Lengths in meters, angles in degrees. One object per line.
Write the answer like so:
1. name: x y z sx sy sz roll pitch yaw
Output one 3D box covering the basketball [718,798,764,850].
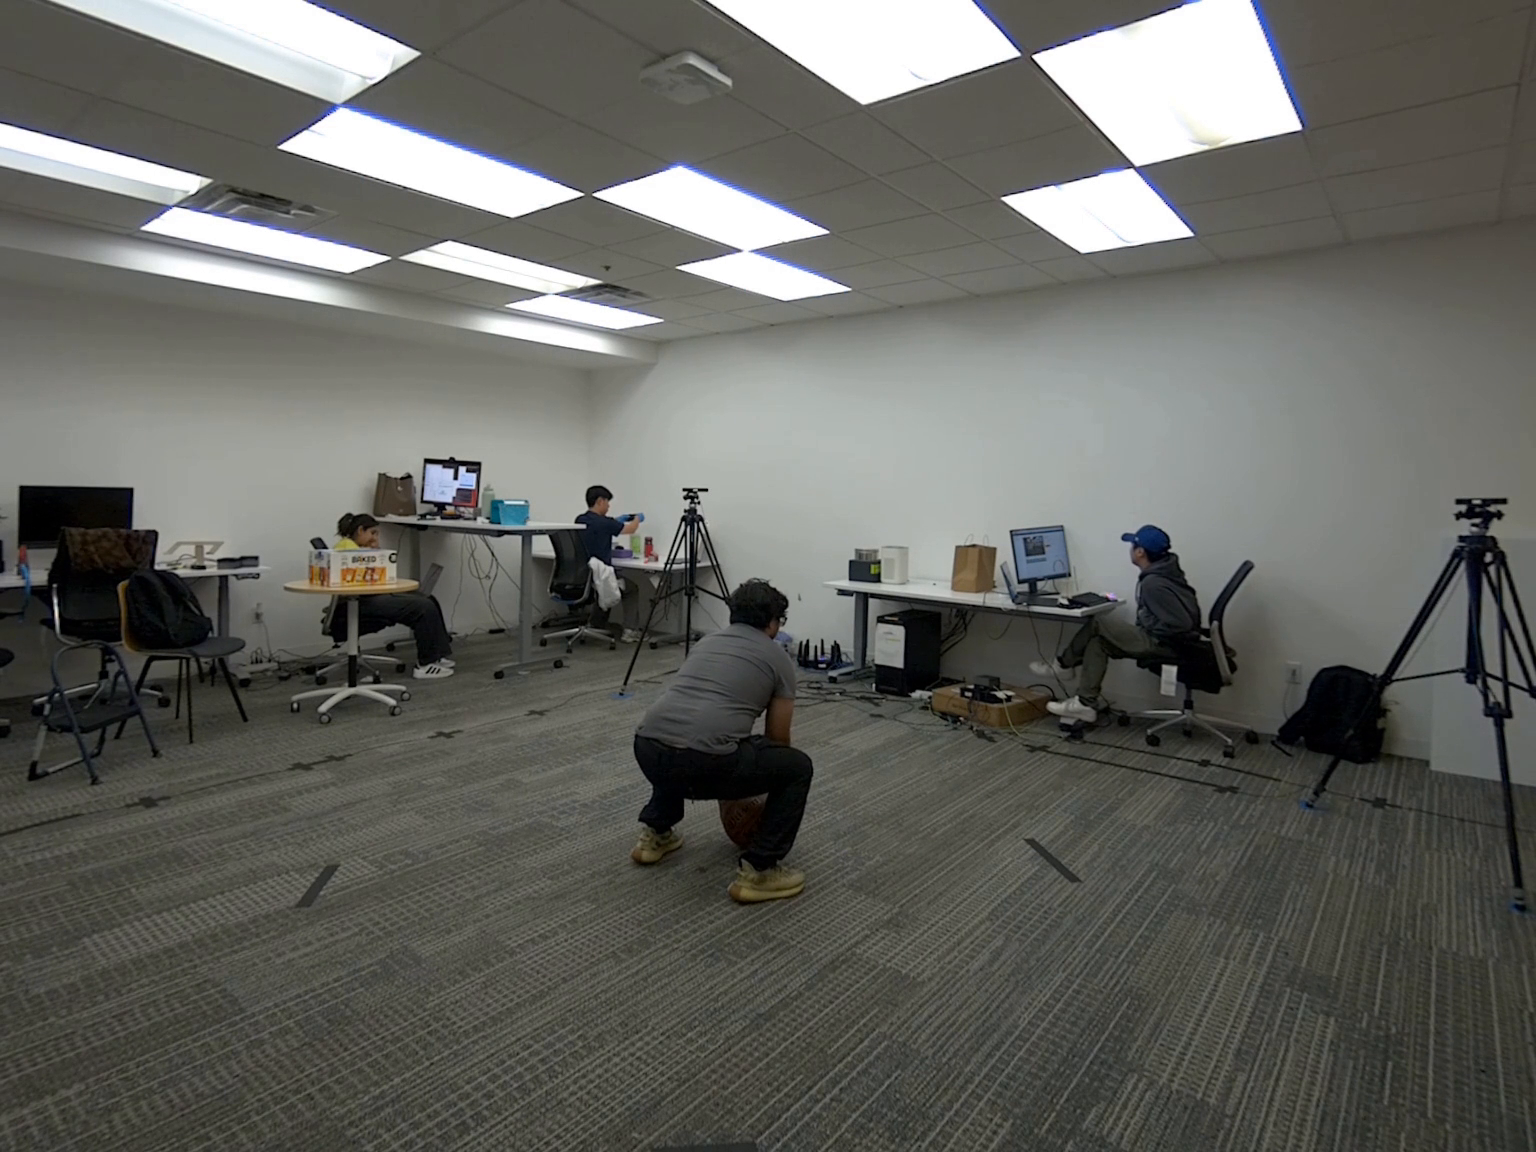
1. basketball: -0.066 0.935 3.306 0.235 0.235 0.237 1 4 -2
